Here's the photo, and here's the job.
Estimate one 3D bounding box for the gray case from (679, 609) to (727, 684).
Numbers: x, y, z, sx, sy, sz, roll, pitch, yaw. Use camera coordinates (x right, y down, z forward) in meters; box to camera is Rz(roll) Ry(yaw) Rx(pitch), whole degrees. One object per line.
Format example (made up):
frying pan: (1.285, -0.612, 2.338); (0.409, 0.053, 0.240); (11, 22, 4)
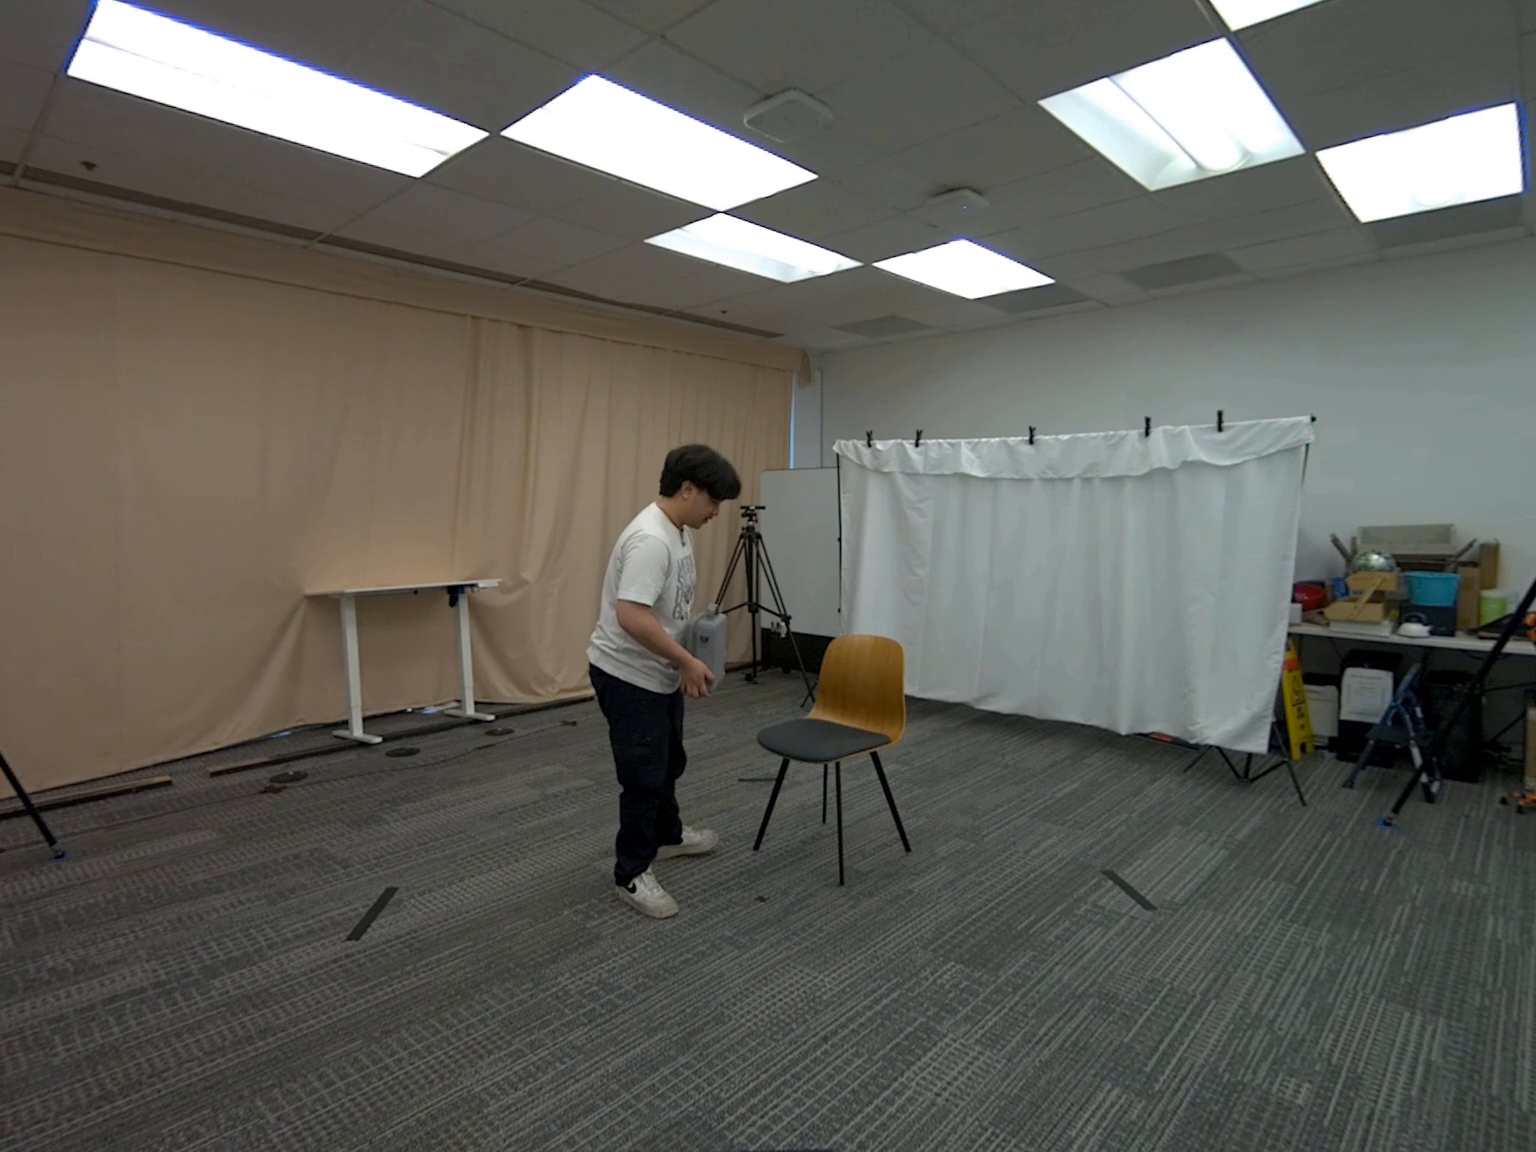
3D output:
gray case: (-0.213, 0.266, 2.954); (0.105, 0.259, 0.255); (5, 8, 9)
